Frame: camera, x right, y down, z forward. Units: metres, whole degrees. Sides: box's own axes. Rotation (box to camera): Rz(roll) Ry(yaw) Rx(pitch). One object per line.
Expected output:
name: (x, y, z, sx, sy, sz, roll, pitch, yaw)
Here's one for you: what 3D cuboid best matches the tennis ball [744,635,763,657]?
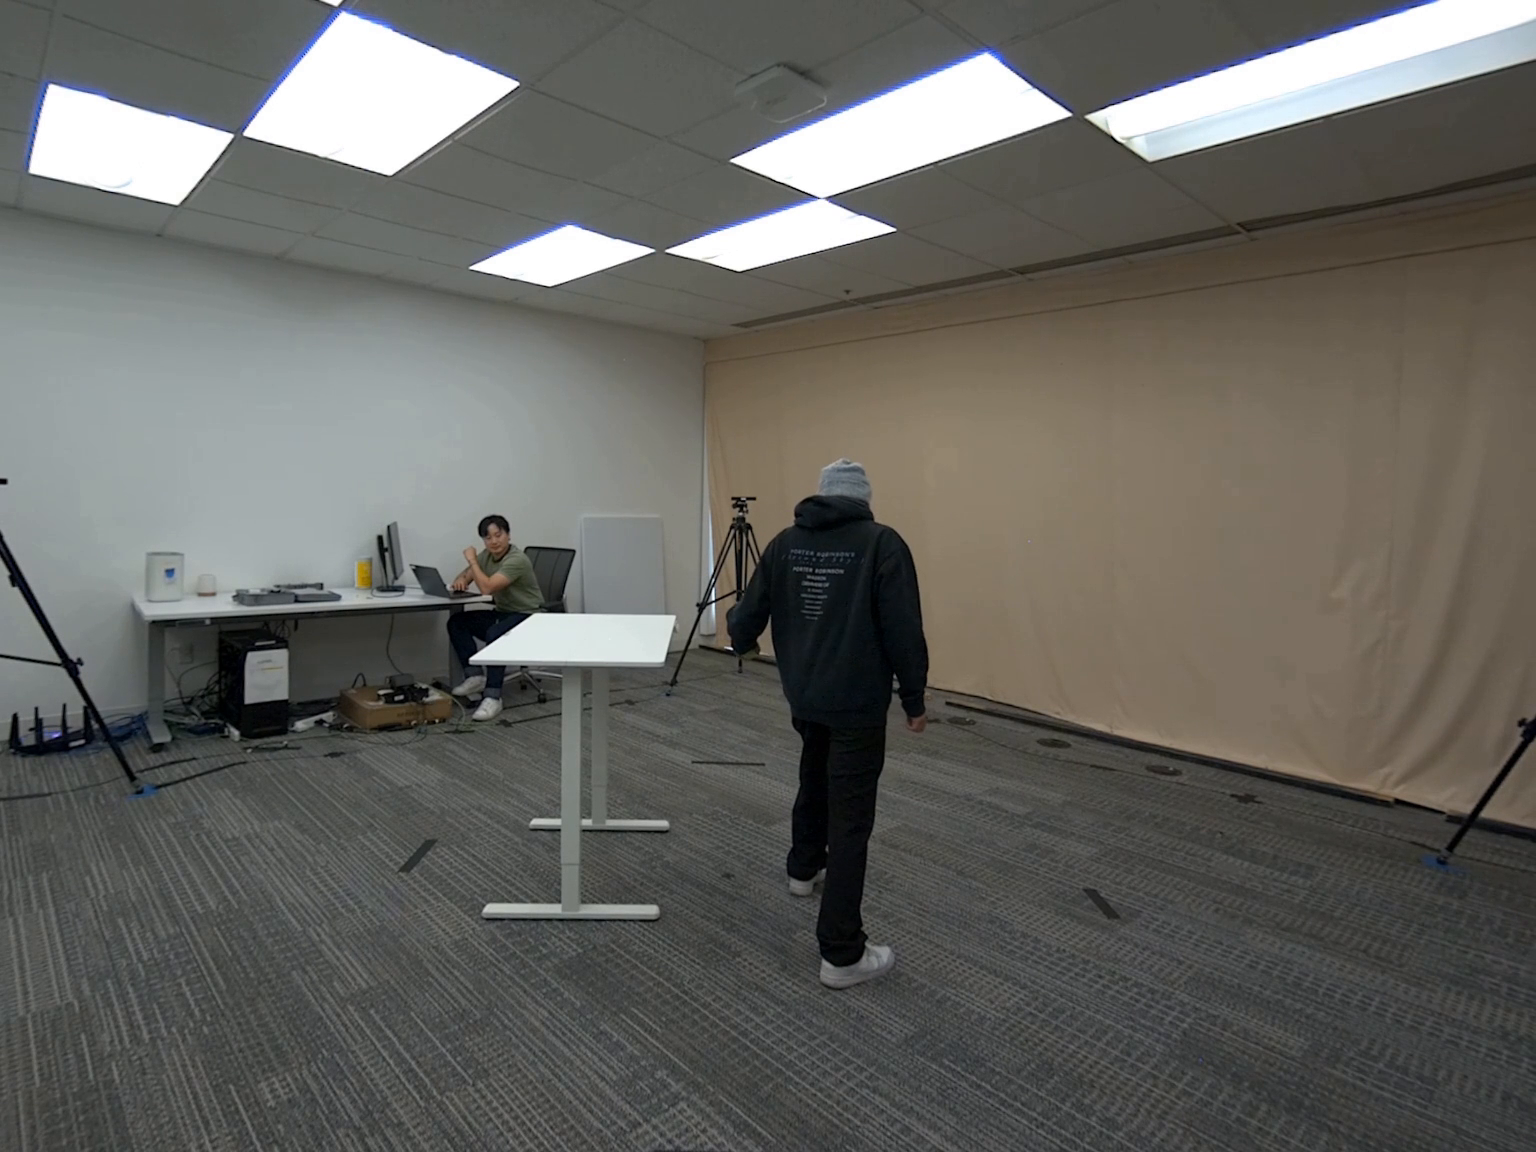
tennis ball: (-0.057, 0.258, 3.149, 0.066, 0.066, 0.067, 1, 4, -1)
